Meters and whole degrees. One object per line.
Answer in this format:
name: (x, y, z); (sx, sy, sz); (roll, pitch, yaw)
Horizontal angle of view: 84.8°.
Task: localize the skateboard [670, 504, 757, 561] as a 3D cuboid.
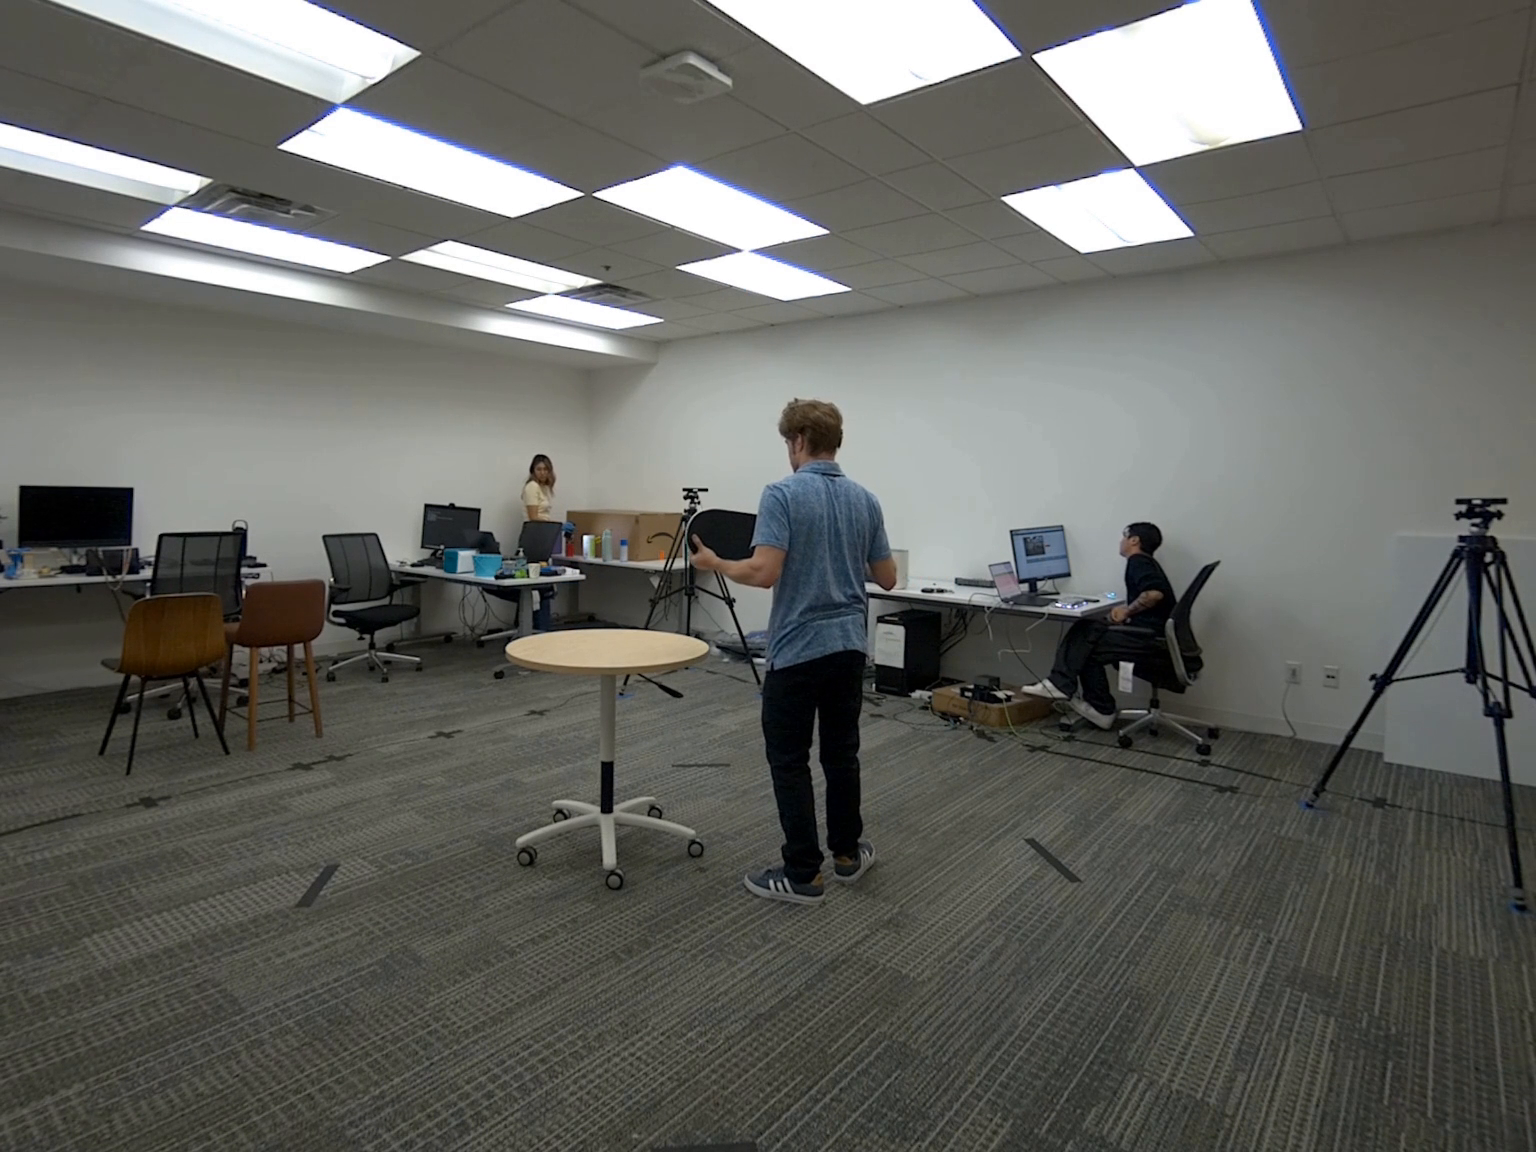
skateboard: (0.027, -0.122, 3.144); (0.764, 0.193, 0.113); (6, 1, -27)
